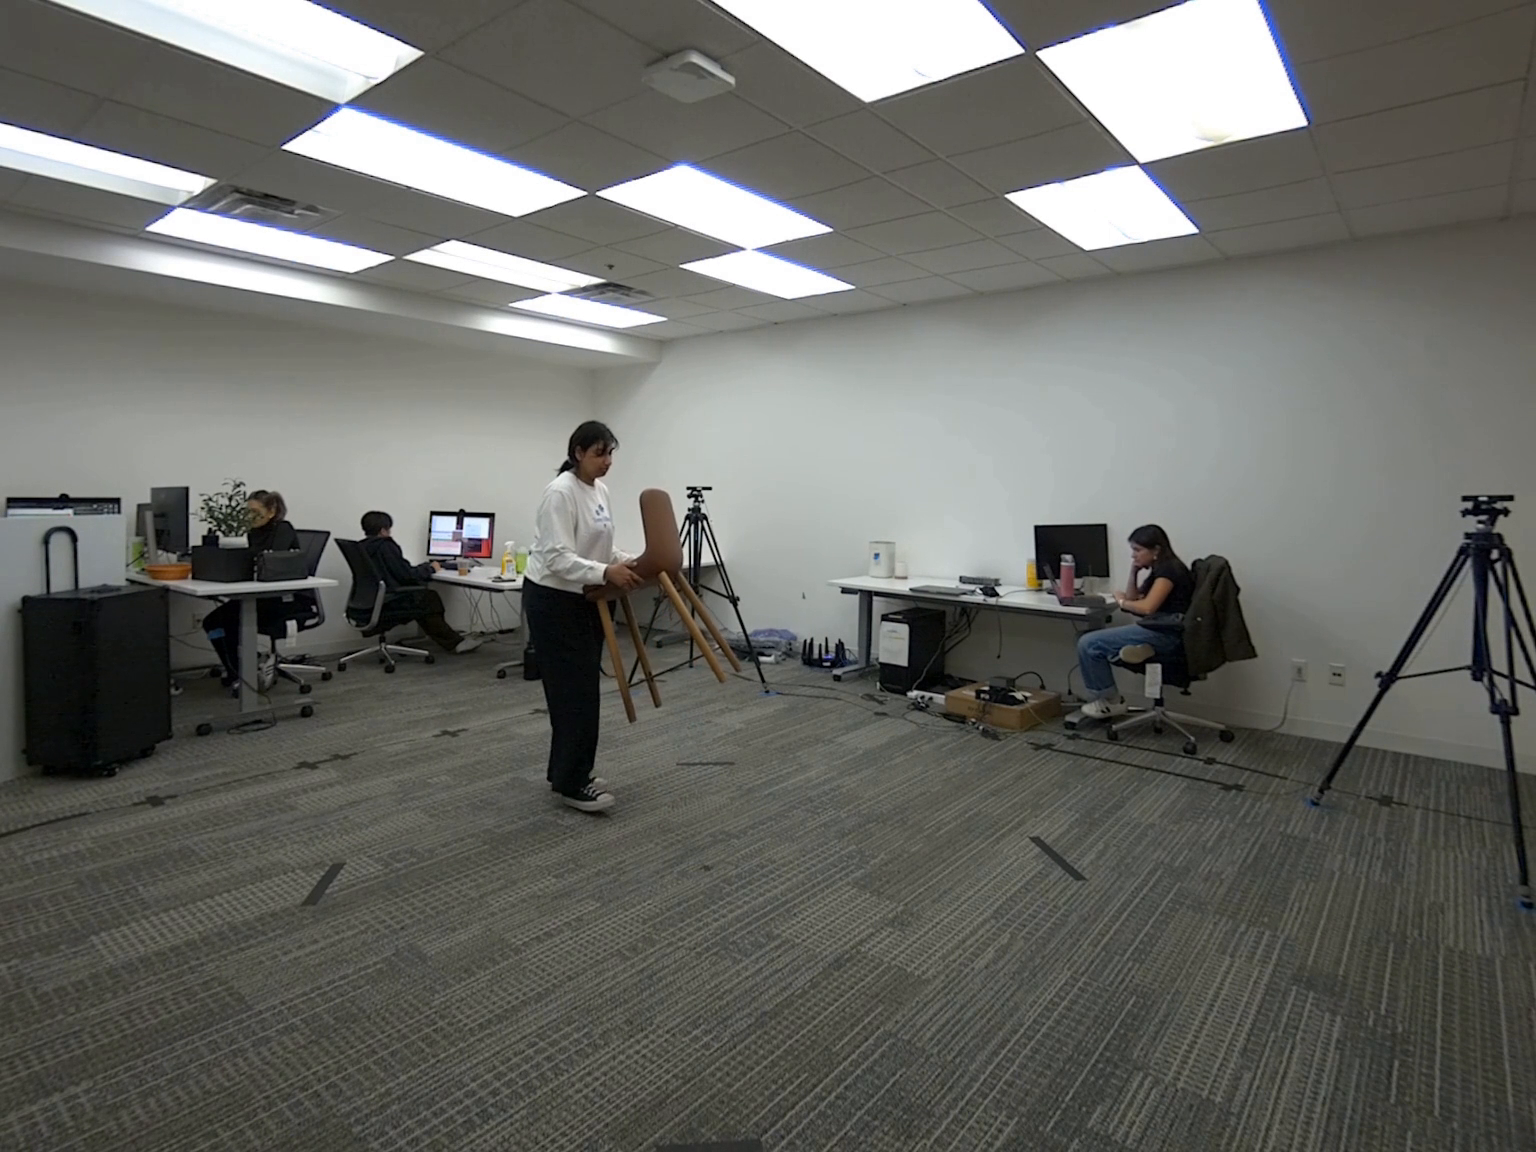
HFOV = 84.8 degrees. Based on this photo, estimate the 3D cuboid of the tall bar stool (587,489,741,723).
[{"bbox_3d":[-0.523,0.123,3.740,0.471,0.897,0.450,-23,-6,11],"label":"tall bar stool"}]
